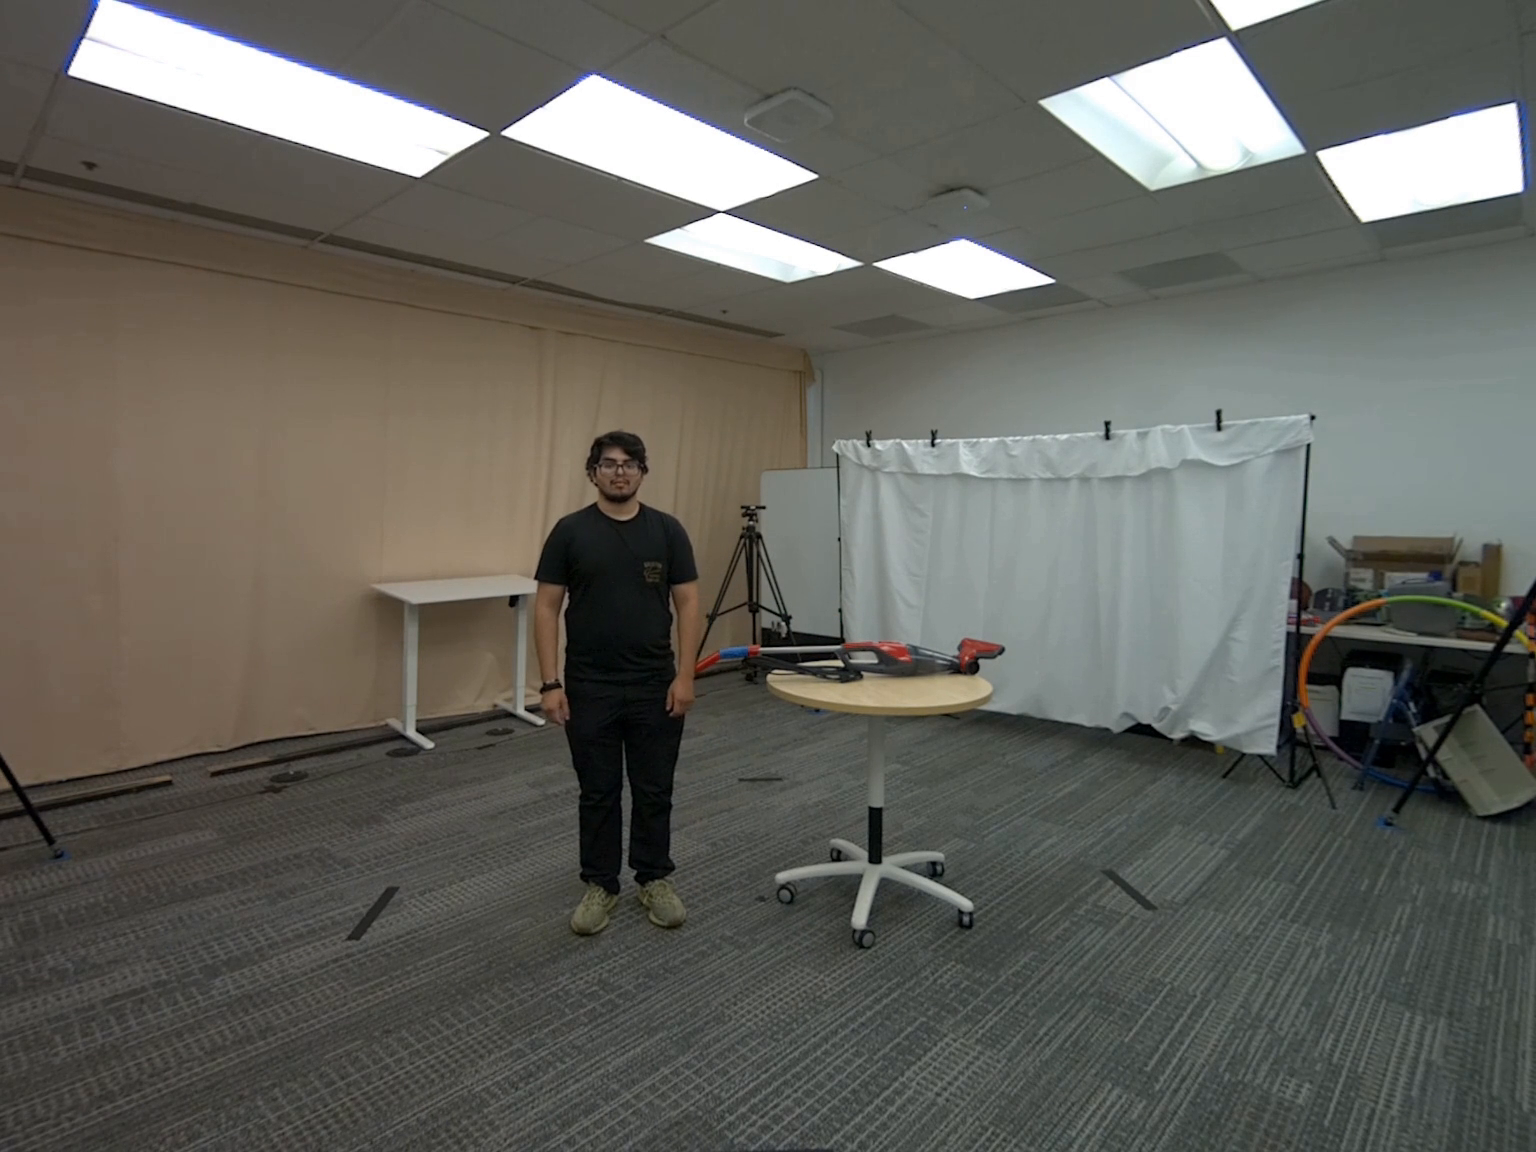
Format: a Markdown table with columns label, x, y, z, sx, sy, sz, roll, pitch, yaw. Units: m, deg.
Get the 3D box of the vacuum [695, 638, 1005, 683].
| label | x | y | z | sx | sy | sz | roll | pitch | yaw |
| --- | --- | --- | --- | --- | --- | --- | --- | --- | --- |
| vacuum | 0.272 | 0.311 | 2.942 | 1.033 | 0.143 | 0.257 | -1 | 5 | -15 |
